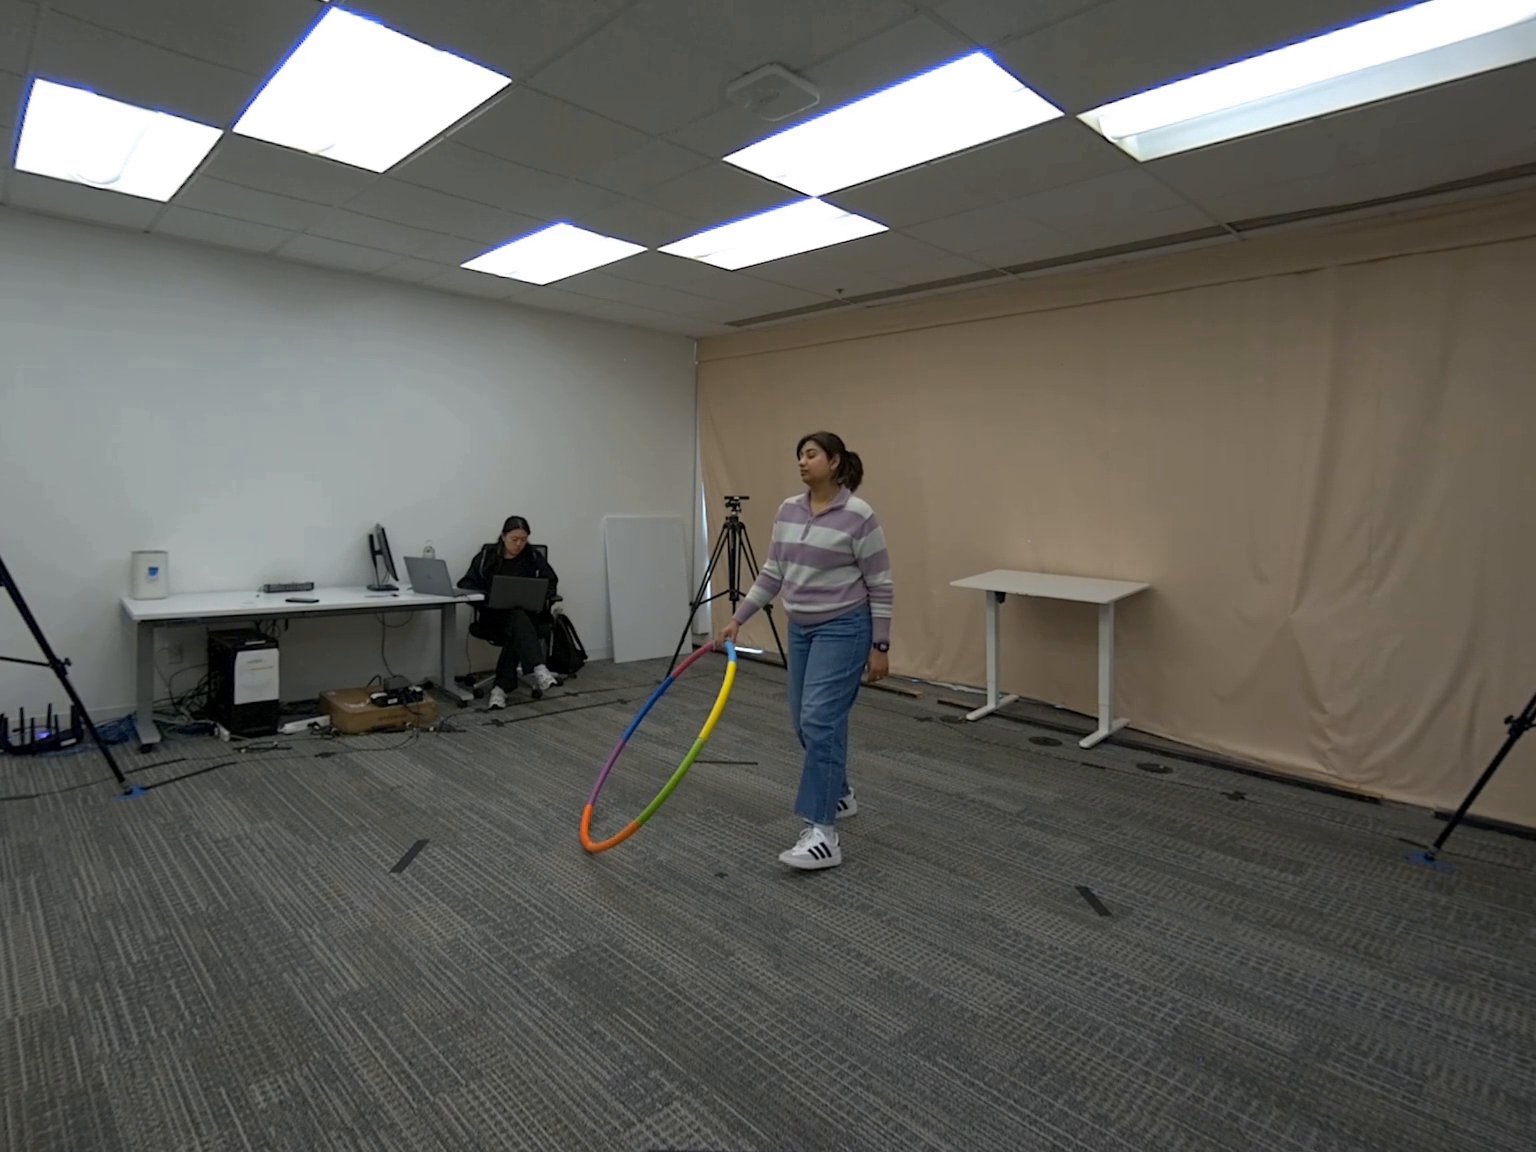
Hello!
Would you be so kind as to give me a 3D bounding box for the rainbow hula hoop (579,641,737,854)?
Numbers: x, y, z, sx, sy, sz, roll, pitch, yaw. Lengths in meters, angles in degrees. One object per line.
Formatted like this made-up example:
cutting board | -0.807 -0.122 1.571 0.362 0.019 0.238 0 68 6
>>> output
rainbow hula hoop | -0.458 0.667 3.418 0.051 0.986 0.999 38 -5 -16
